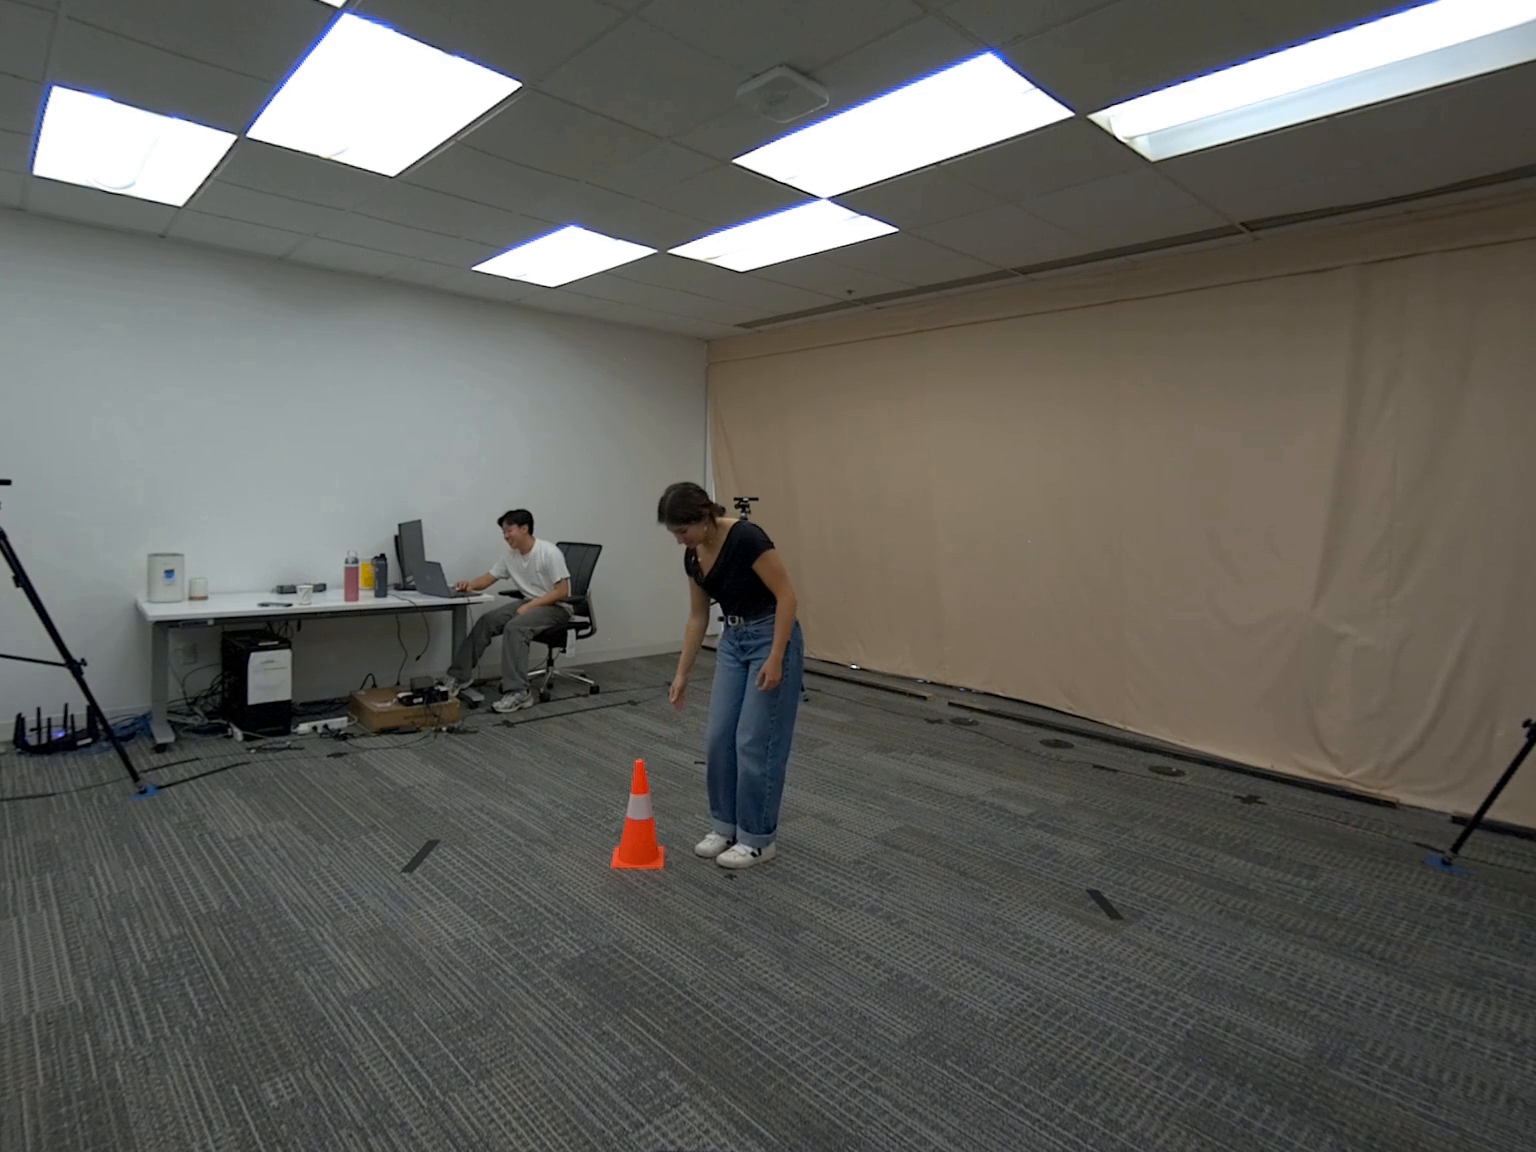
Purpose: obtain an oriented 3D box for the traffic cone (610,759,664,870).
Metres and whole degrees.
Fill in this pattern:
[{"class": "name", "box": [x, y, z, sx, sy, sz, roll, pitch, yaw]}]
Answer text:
[{"class": "traffic cone", "box": [-0.503, 0.898, 3.241, 0.204, 0.383, 0.204, 1, 4, -5]}]
